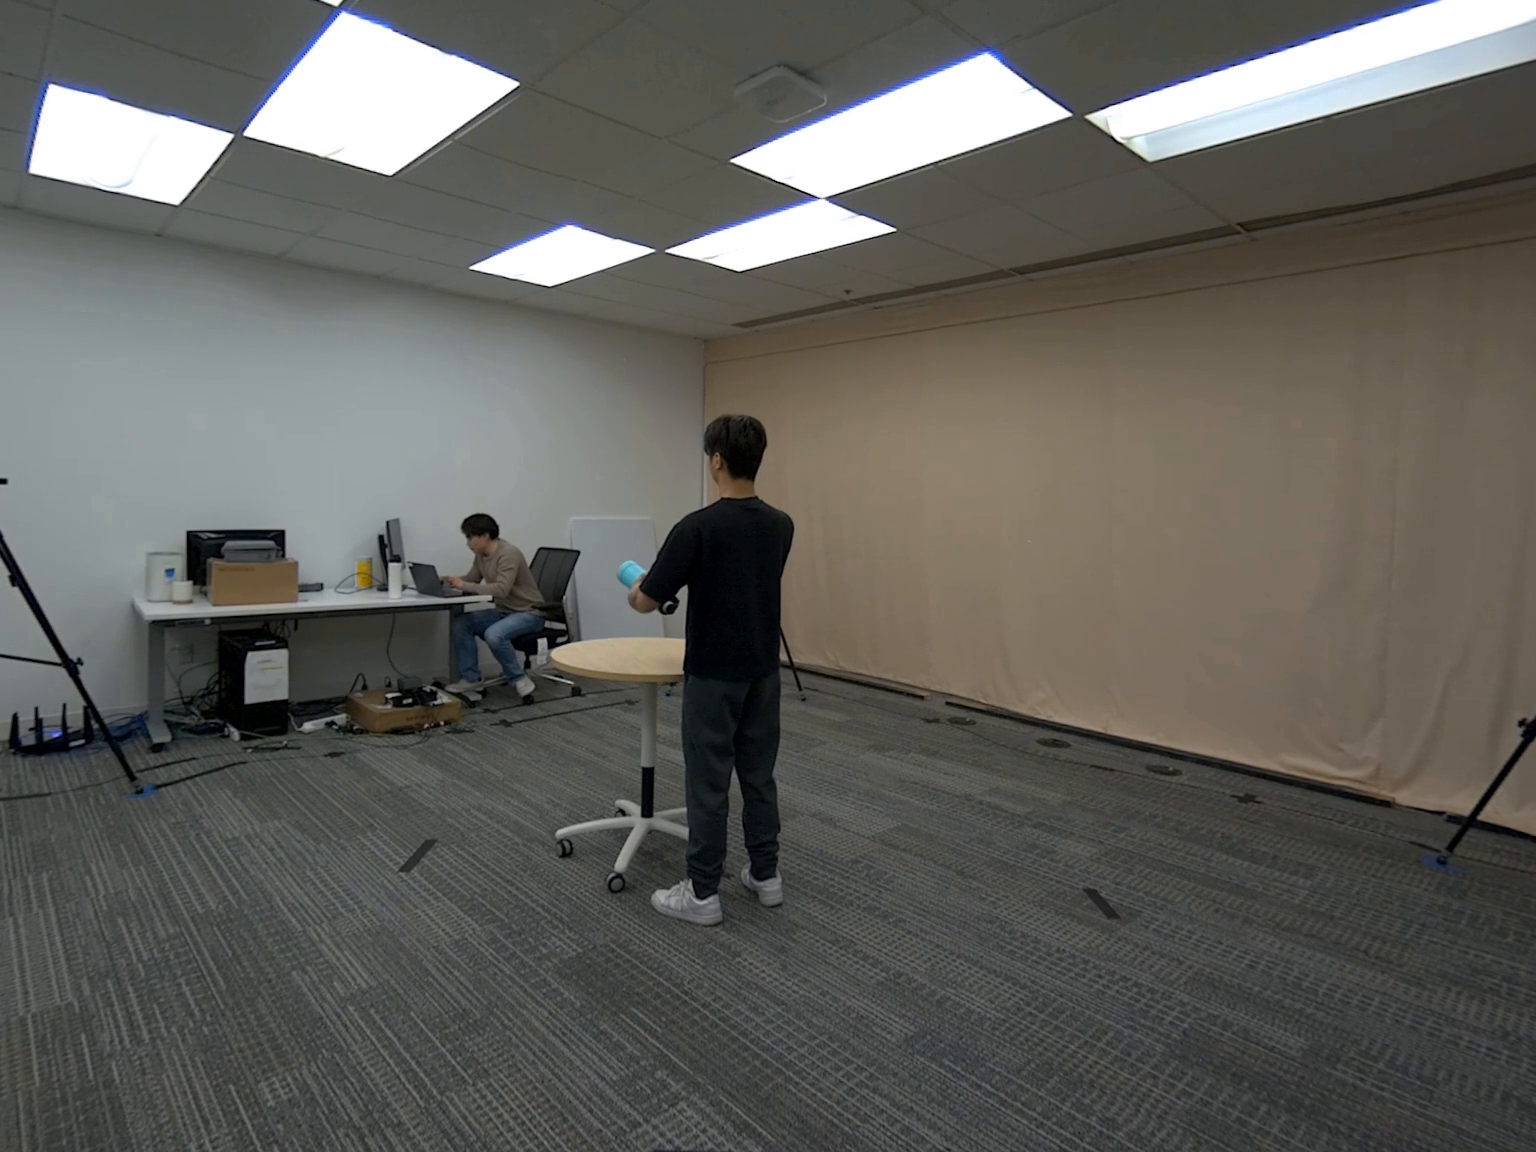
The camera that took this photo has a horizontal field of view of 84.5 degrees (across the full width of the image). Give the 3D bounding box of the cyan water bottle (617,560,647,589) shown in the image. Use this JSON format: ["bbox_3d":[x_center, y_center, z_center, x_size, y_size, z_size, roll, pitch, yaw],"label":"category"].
[{"bbox_3d":[-0.422,0.042,2.982,0.090,0.091,0.292,-3,29,-47],"label":"cyan water bottle"}]
